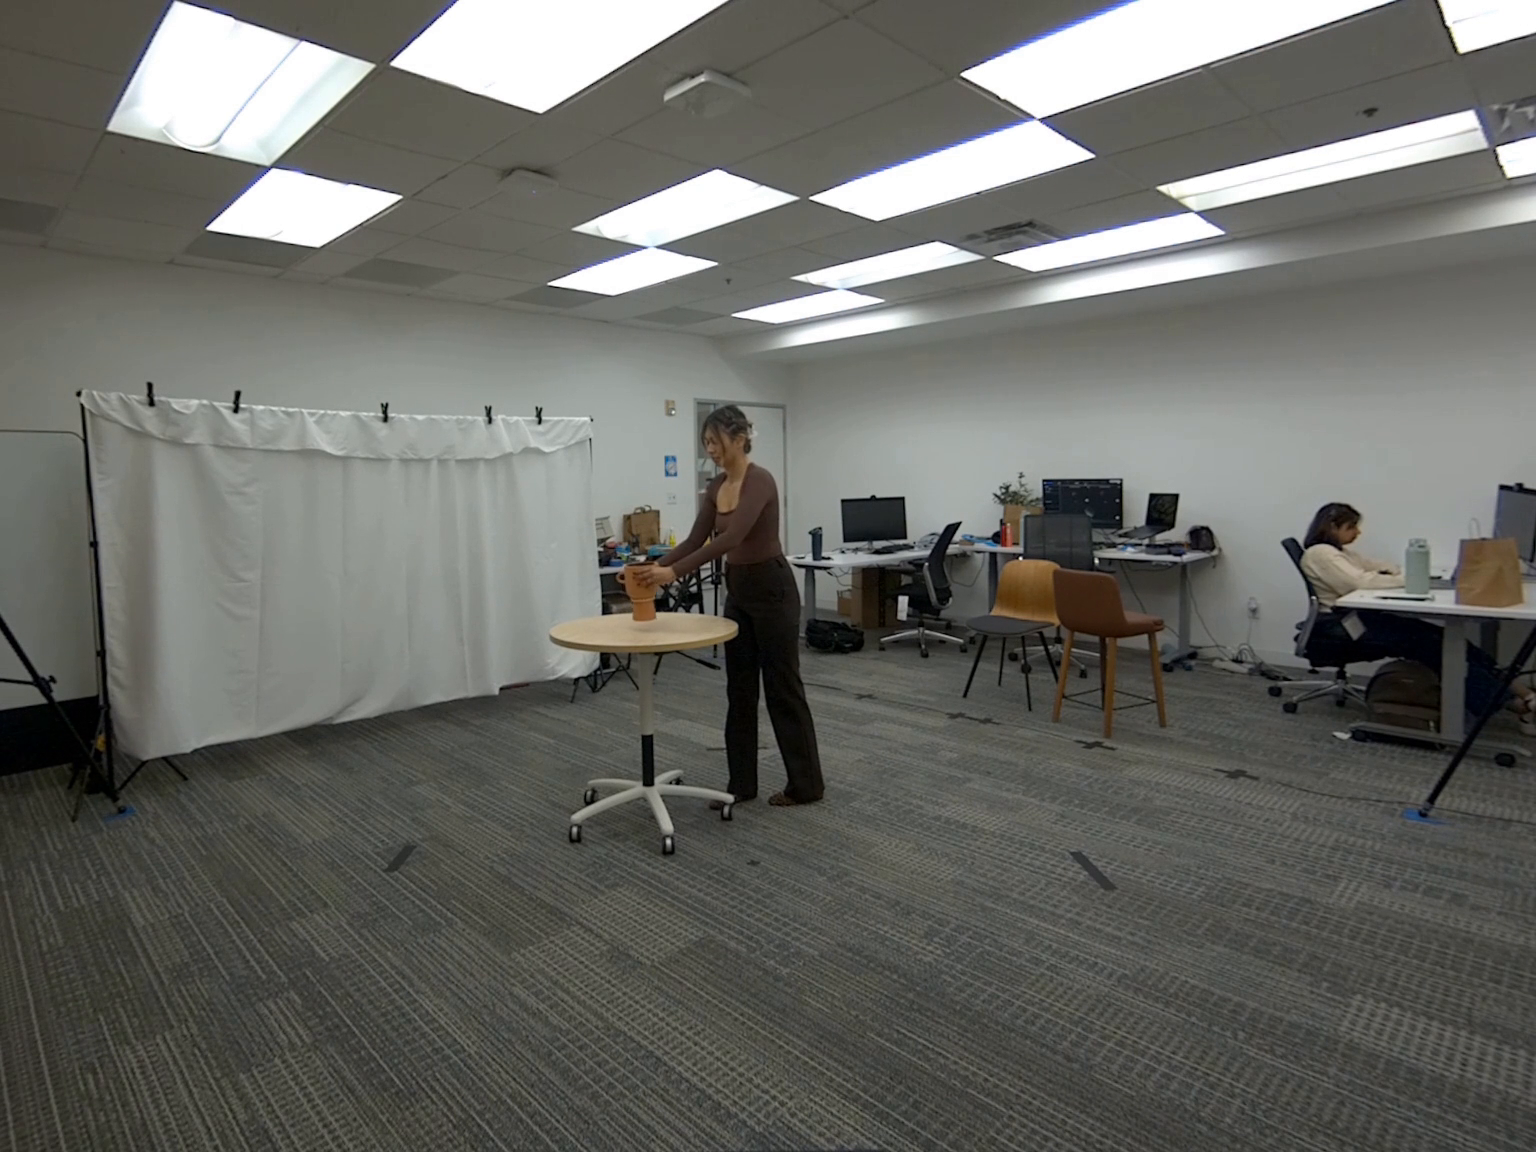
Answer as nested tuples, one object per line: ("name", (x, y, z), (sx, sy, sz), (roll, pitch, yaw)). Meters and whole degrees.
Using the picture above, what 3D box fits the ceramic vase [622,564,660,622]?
("ceramic vase", (-0.502, 0.062, 3.404), (0.163, 0.218, 0.131), (4, 9, 37))
